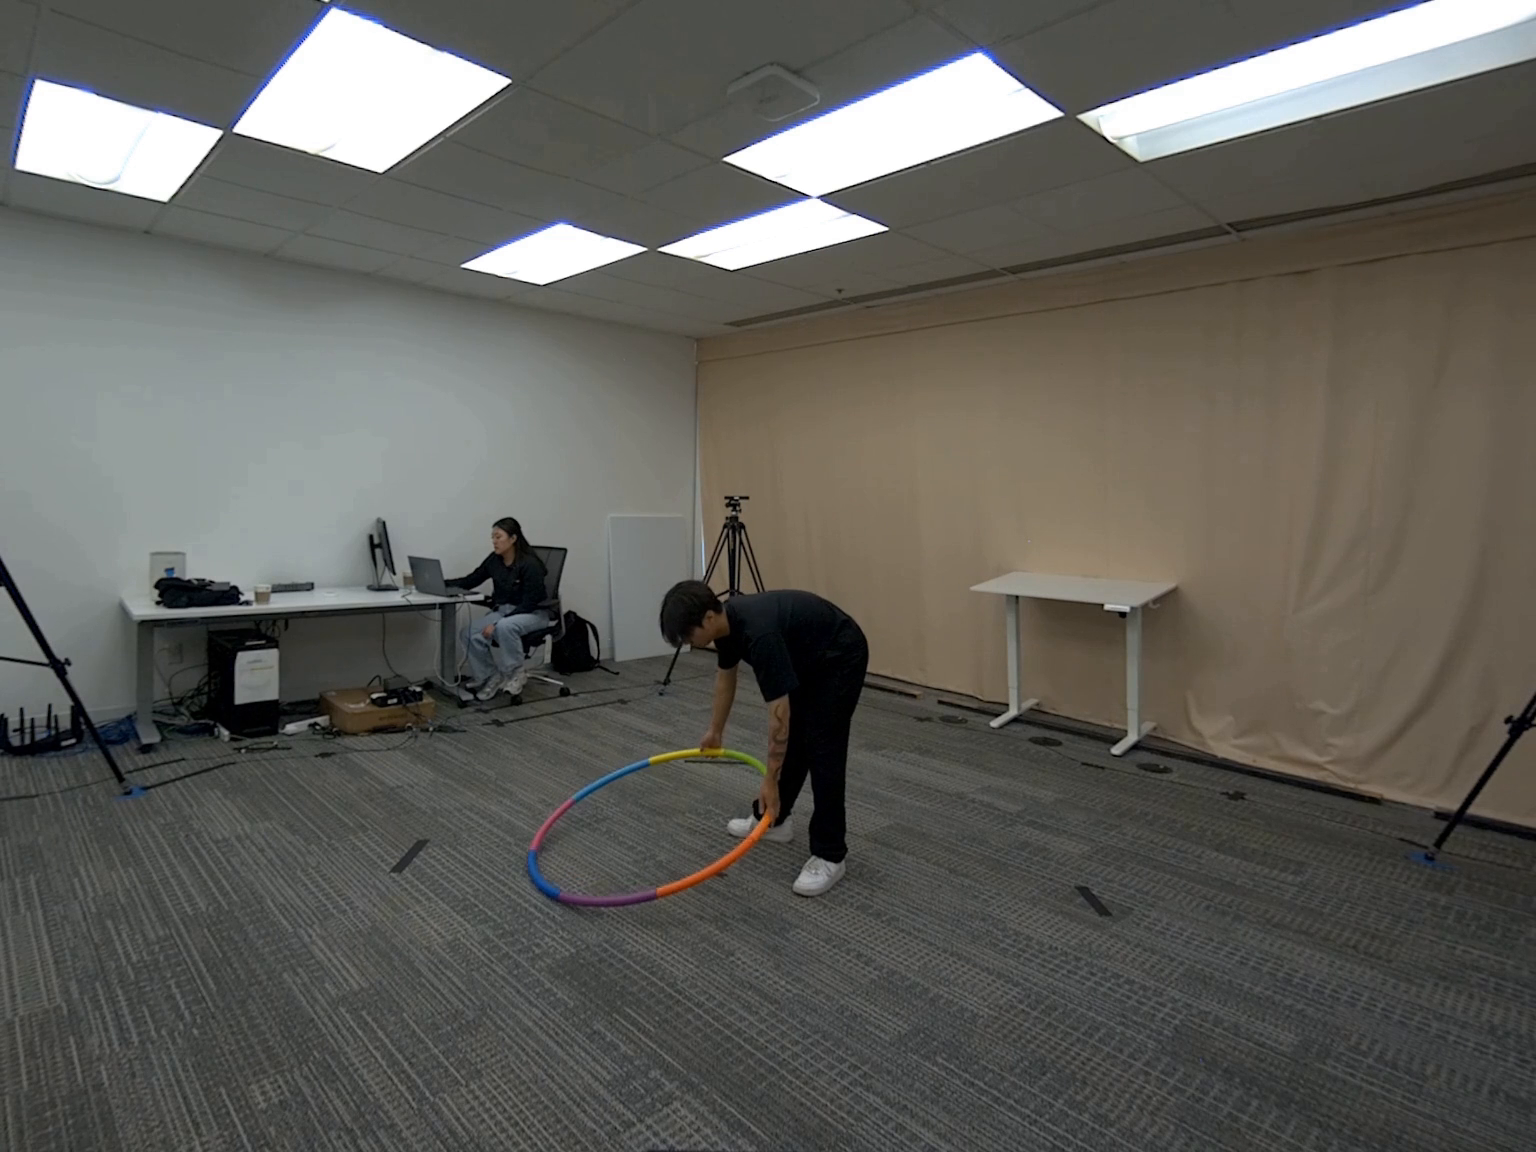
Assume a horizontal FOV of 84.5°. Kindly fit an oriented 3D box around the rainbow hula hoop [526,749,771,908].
[{"bbox_3d":[-0.445,0.921,3.205,0.980,0.035,0.989,-14,15,2],"label":"rainbow hula hoop"}]
